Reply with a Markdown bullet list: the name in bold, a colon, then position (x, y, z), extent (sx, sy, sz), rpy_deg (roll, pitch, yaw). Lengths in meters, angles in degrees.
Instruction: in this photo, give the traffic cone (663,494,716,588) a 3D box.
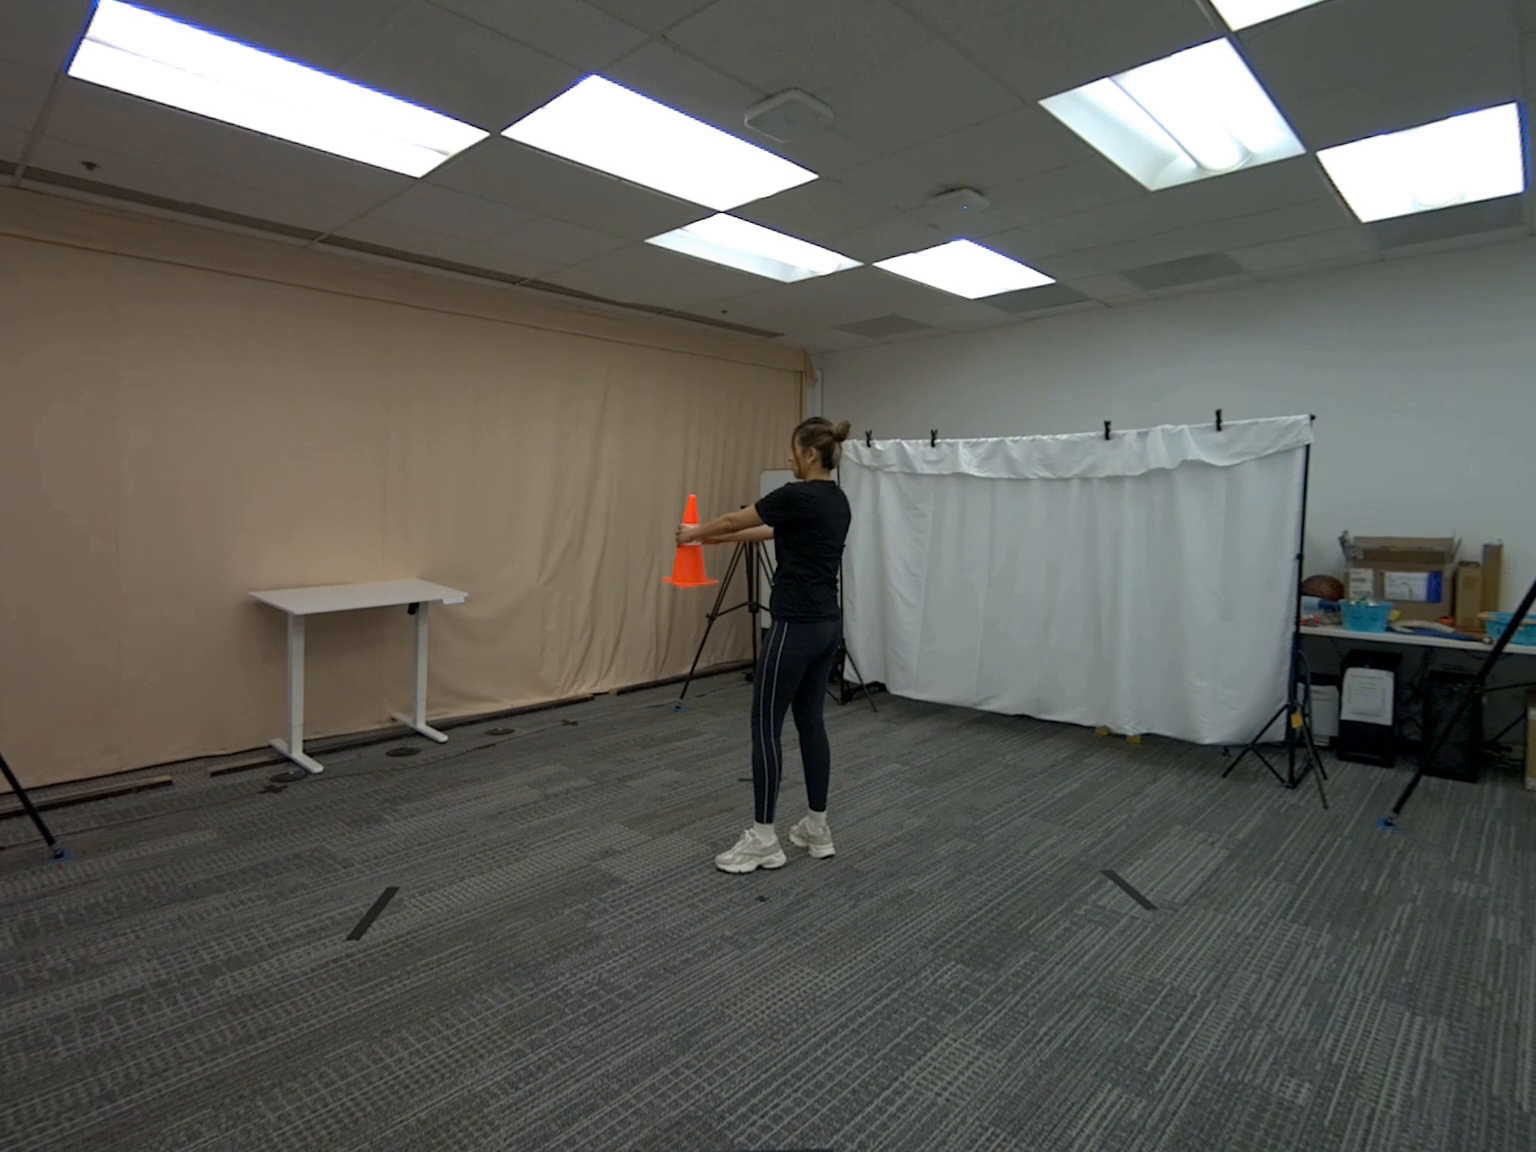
- **traffic cone**: position (-0.341, -0.164, 3.704), extent (0.207, 0.382, 0.202), rpy_deg (4, 8, 16)
